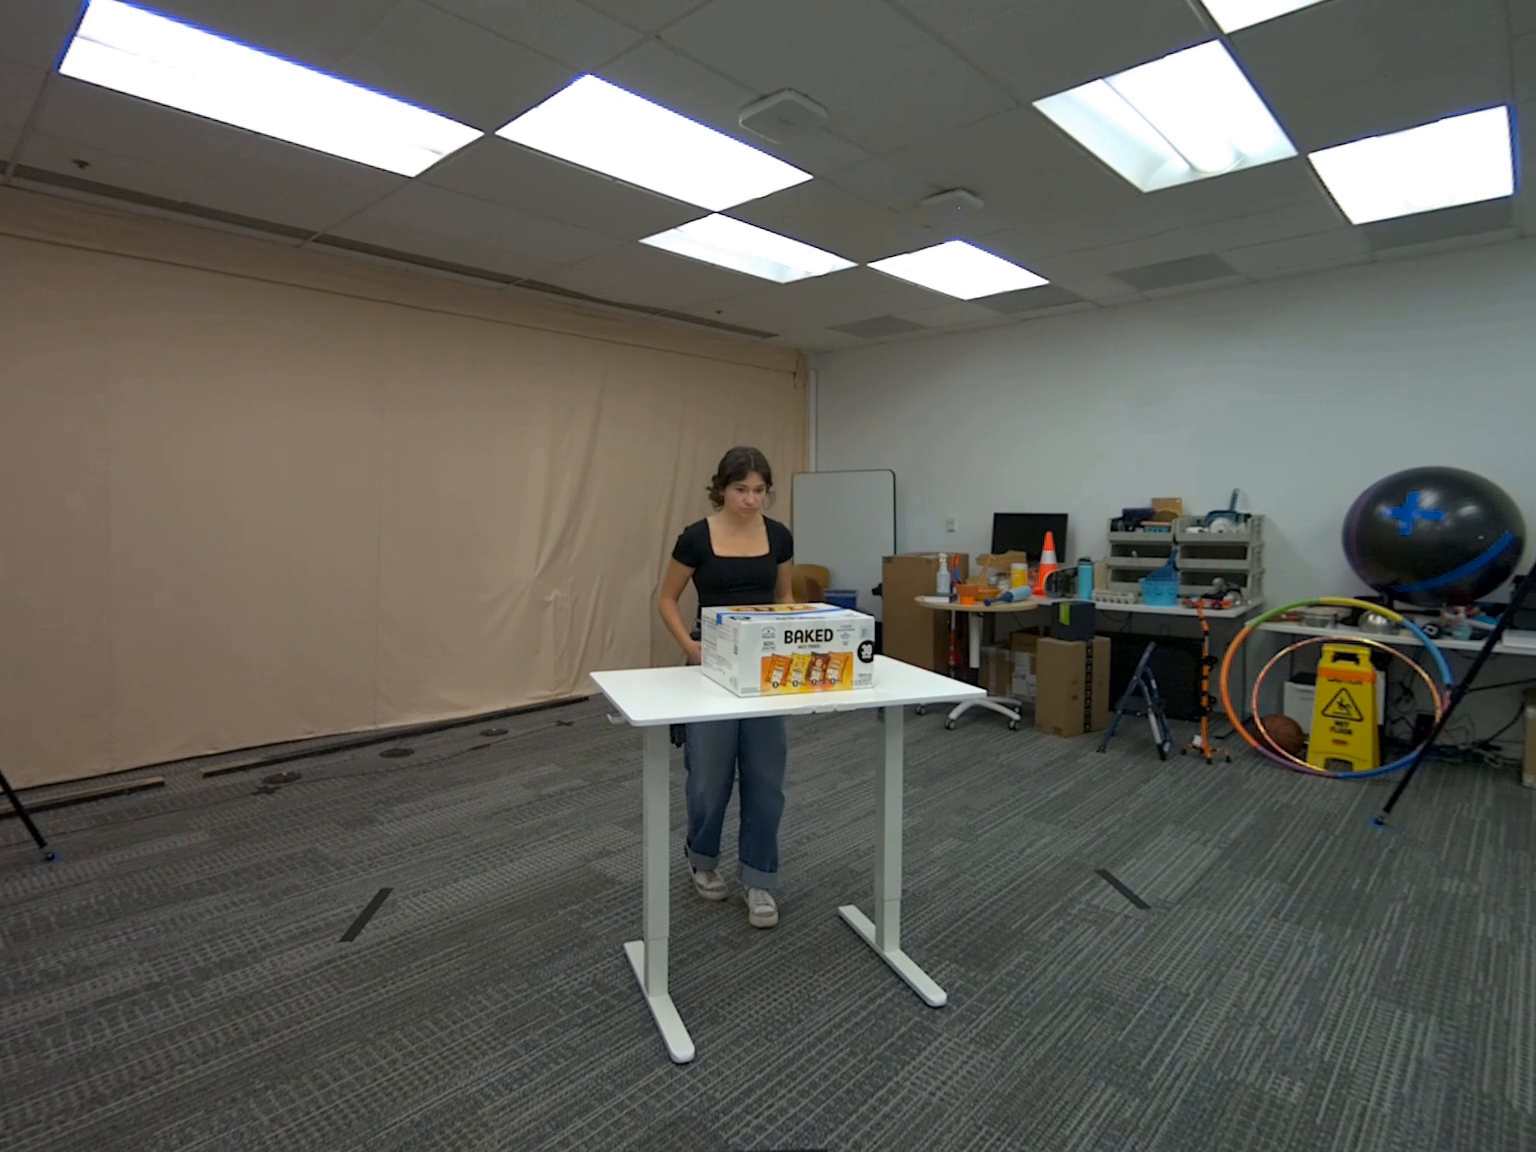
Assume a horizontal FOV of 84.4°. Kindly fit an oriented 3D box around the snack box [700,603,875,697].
[{"bbox_3d":[0.050,0.205,2.453,0.397,0.205,0.348,-1,4,-20],"label":"snack box"}]
